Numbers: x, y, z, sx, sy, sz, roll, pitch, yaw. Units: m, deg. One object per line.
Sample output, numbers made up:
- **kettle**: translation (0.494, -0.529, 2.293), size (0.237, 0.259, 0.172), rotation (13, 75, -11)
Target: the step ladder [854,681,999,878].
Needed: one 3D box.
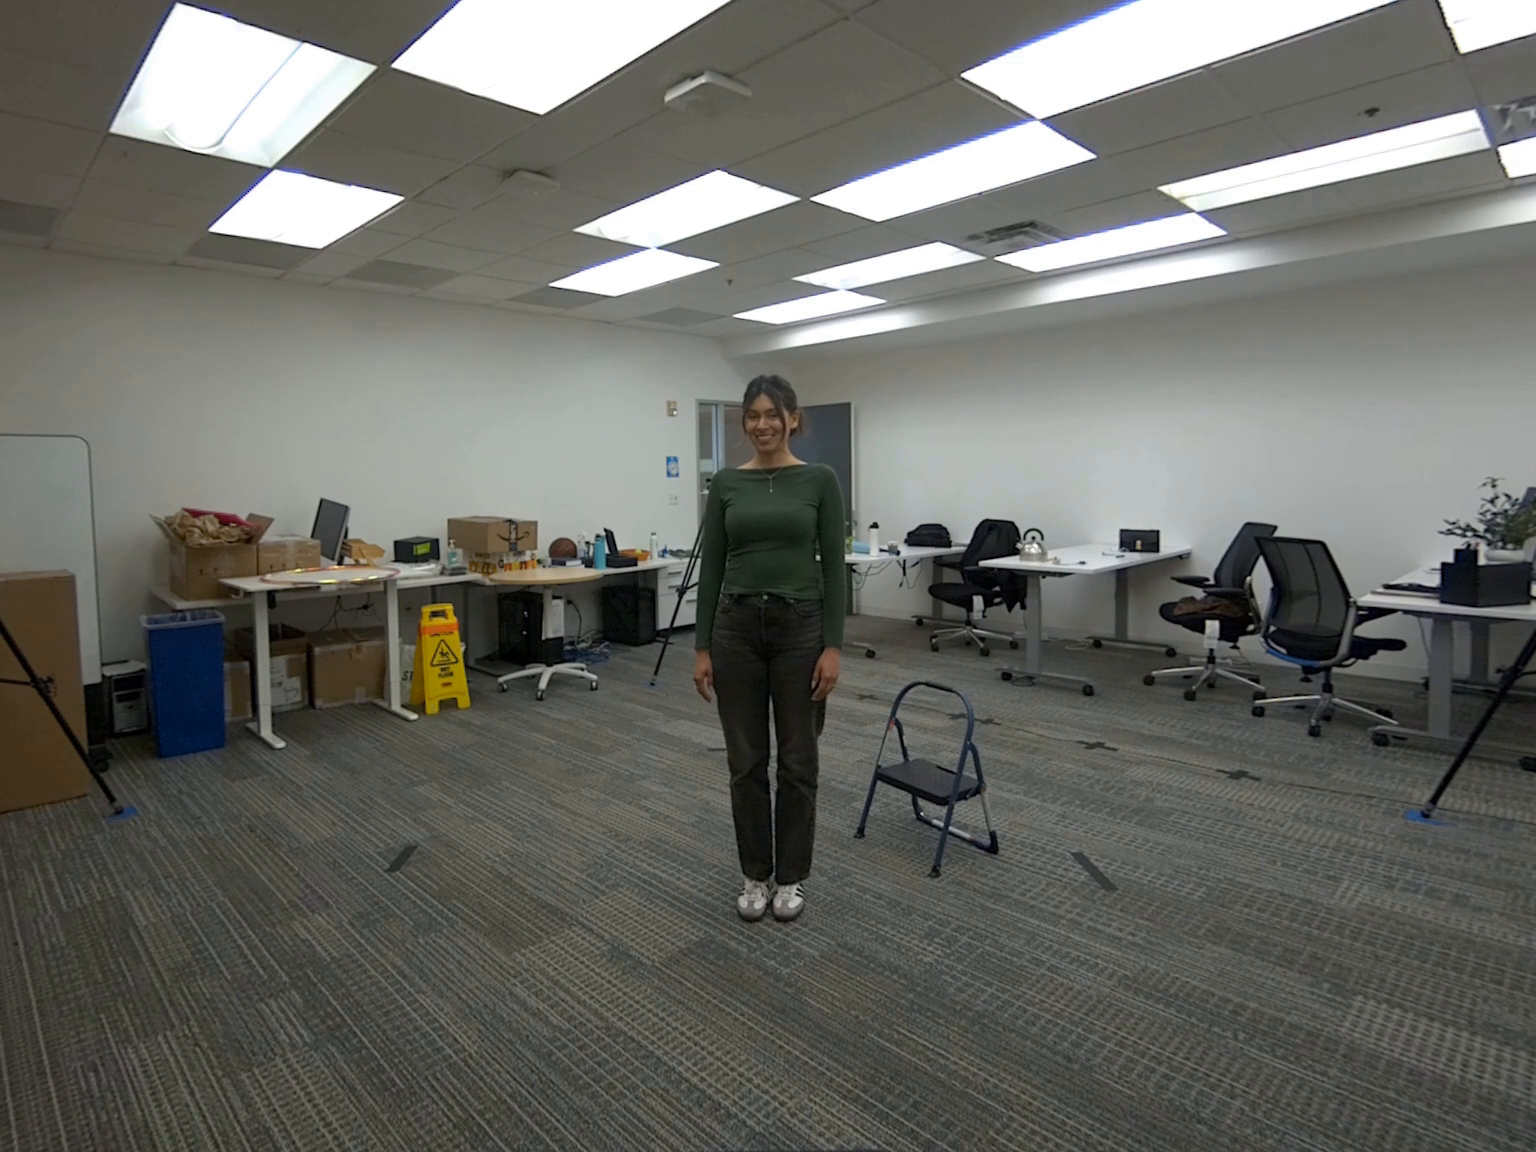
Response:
- **step ladder**: translation (0.594, 0.717, 3.216), size (0.340, 0.604, 0.443), rotation (-3, 5, -34)
